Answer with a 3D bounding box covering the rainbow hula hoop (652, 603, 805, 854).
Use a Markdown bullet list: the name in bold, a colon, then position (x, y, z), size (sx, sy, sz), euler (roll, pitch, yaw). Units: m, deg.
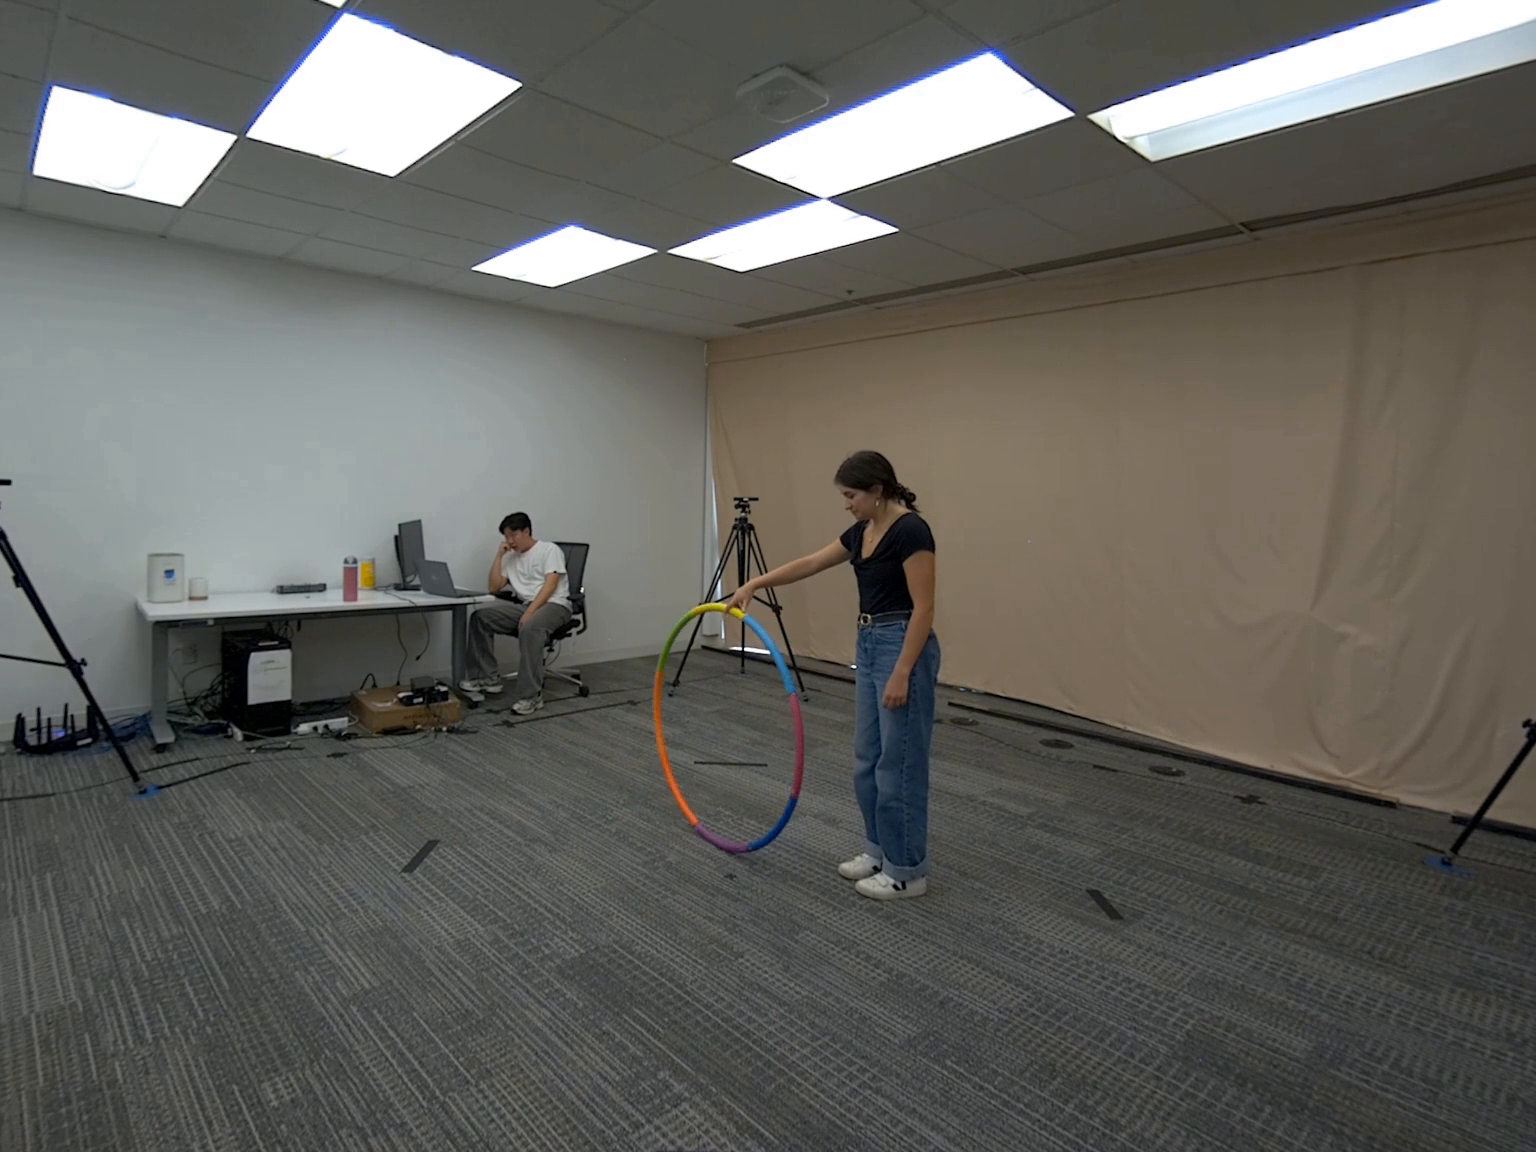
- **rainbow hula hoop**: position (-0.203, 0.605, 3.354), size (0.035, 0.976, 1.003), euler (0, 4, -38)
